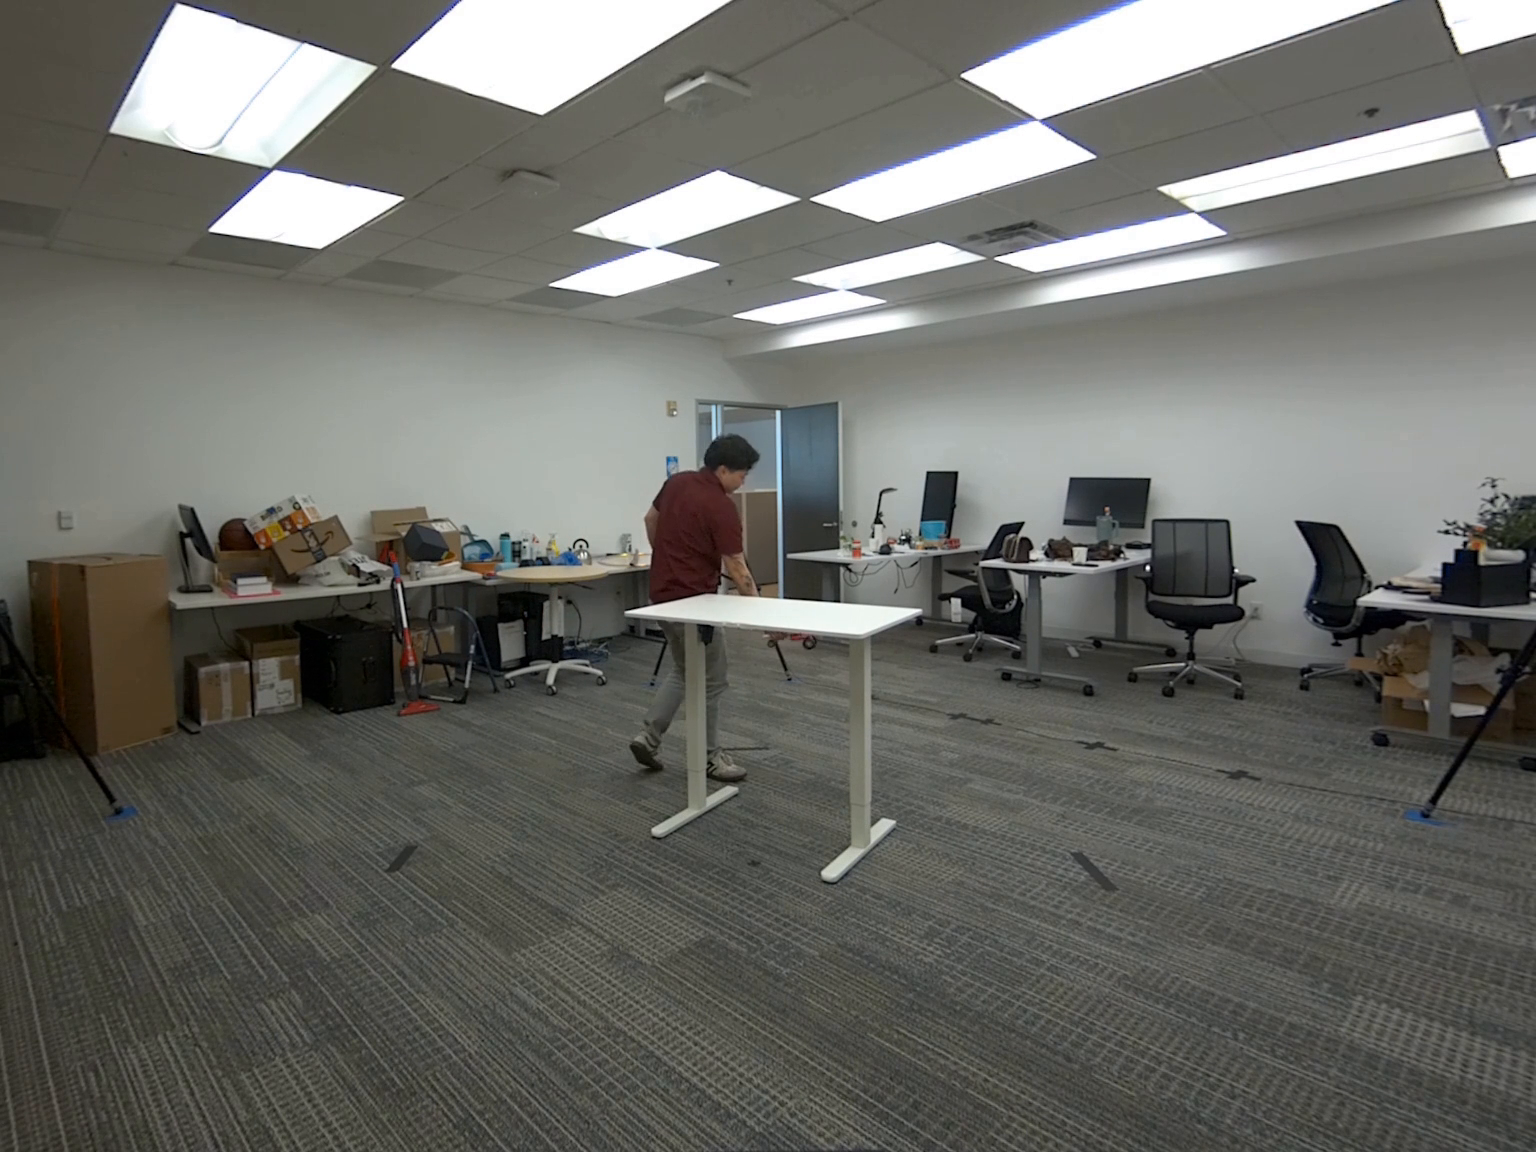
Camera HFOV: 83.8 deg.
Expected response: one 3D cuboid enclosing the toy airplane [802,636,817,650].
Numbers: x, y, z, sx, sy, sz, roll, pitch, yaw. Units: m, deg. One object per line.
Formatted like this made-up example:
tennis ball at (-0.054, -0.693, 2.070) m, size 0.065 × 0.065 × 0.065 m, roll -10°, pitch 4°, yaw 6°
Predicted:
toy airplane at (0.099, 0.245, 3.900) m, size 0.255 × 0.156 × 0.256 m, roll 2°, pitch 3°, yaw -19°
